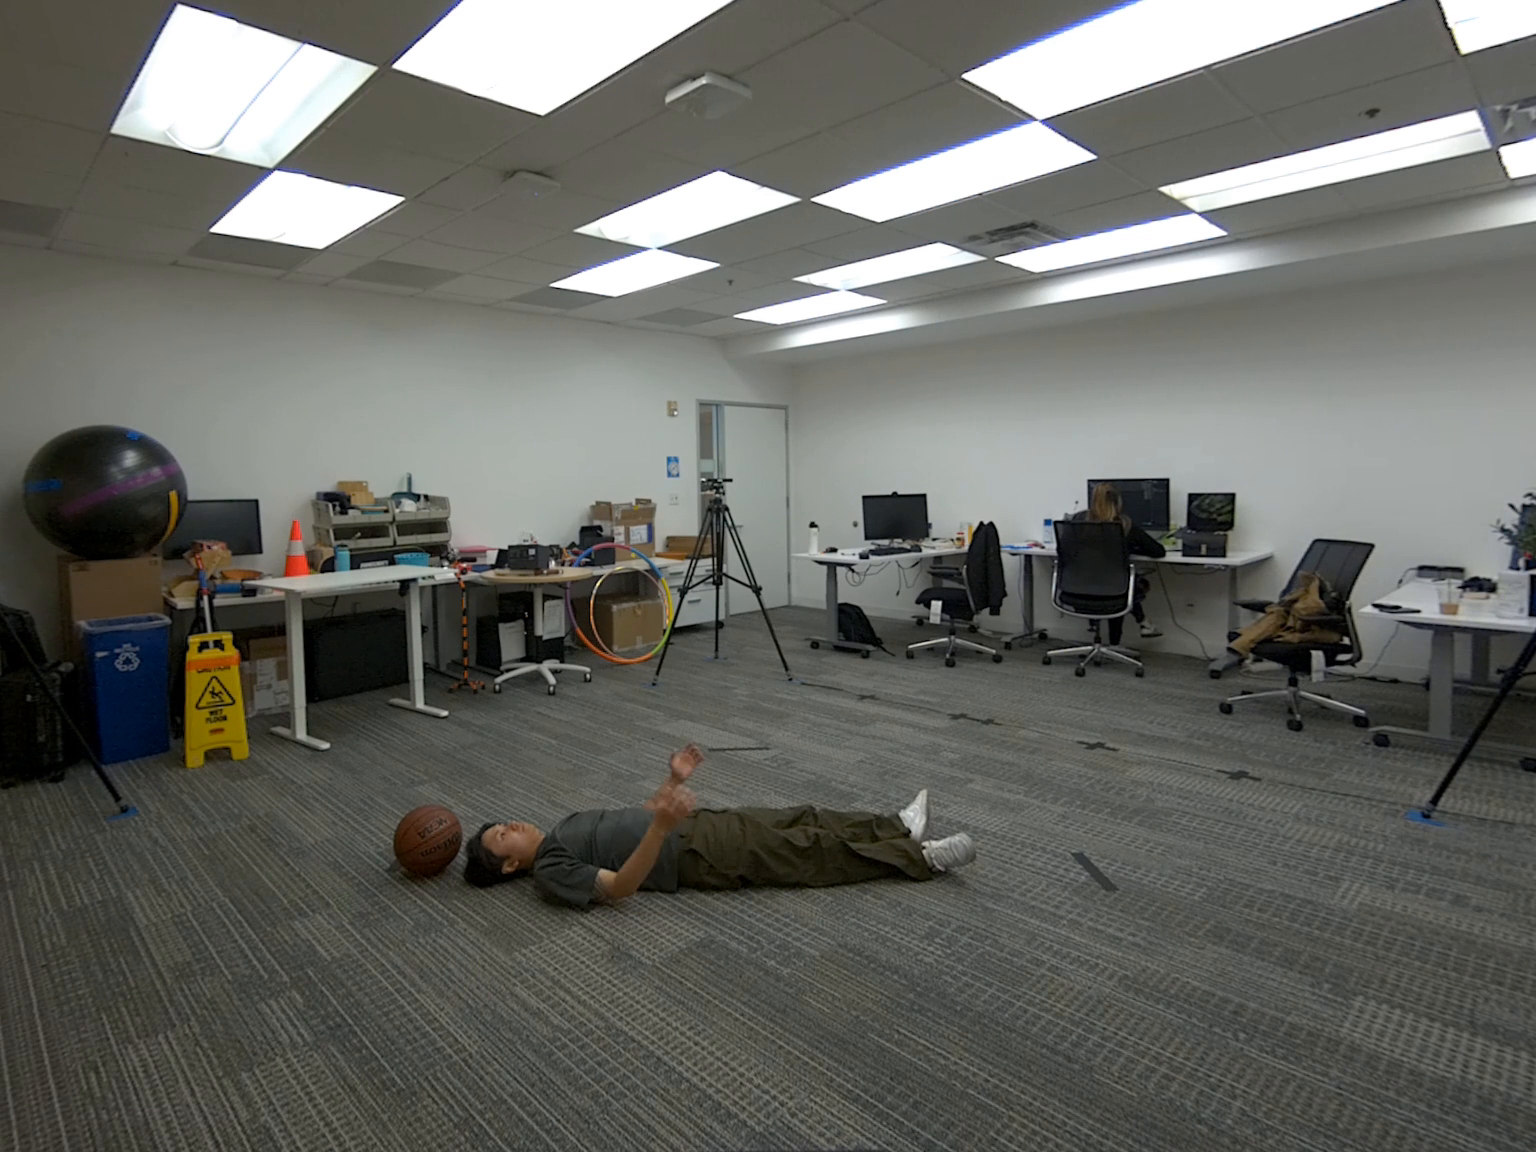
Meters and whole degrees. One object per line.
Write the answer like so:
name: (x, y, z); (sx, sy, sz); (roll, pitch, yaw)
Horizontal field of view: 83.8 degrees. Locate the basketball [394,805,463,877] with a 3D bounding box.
basketball: (-1.224, 0.947, 3.092); (0.236, 0.235, 0.237); (-1, 5, -2)
